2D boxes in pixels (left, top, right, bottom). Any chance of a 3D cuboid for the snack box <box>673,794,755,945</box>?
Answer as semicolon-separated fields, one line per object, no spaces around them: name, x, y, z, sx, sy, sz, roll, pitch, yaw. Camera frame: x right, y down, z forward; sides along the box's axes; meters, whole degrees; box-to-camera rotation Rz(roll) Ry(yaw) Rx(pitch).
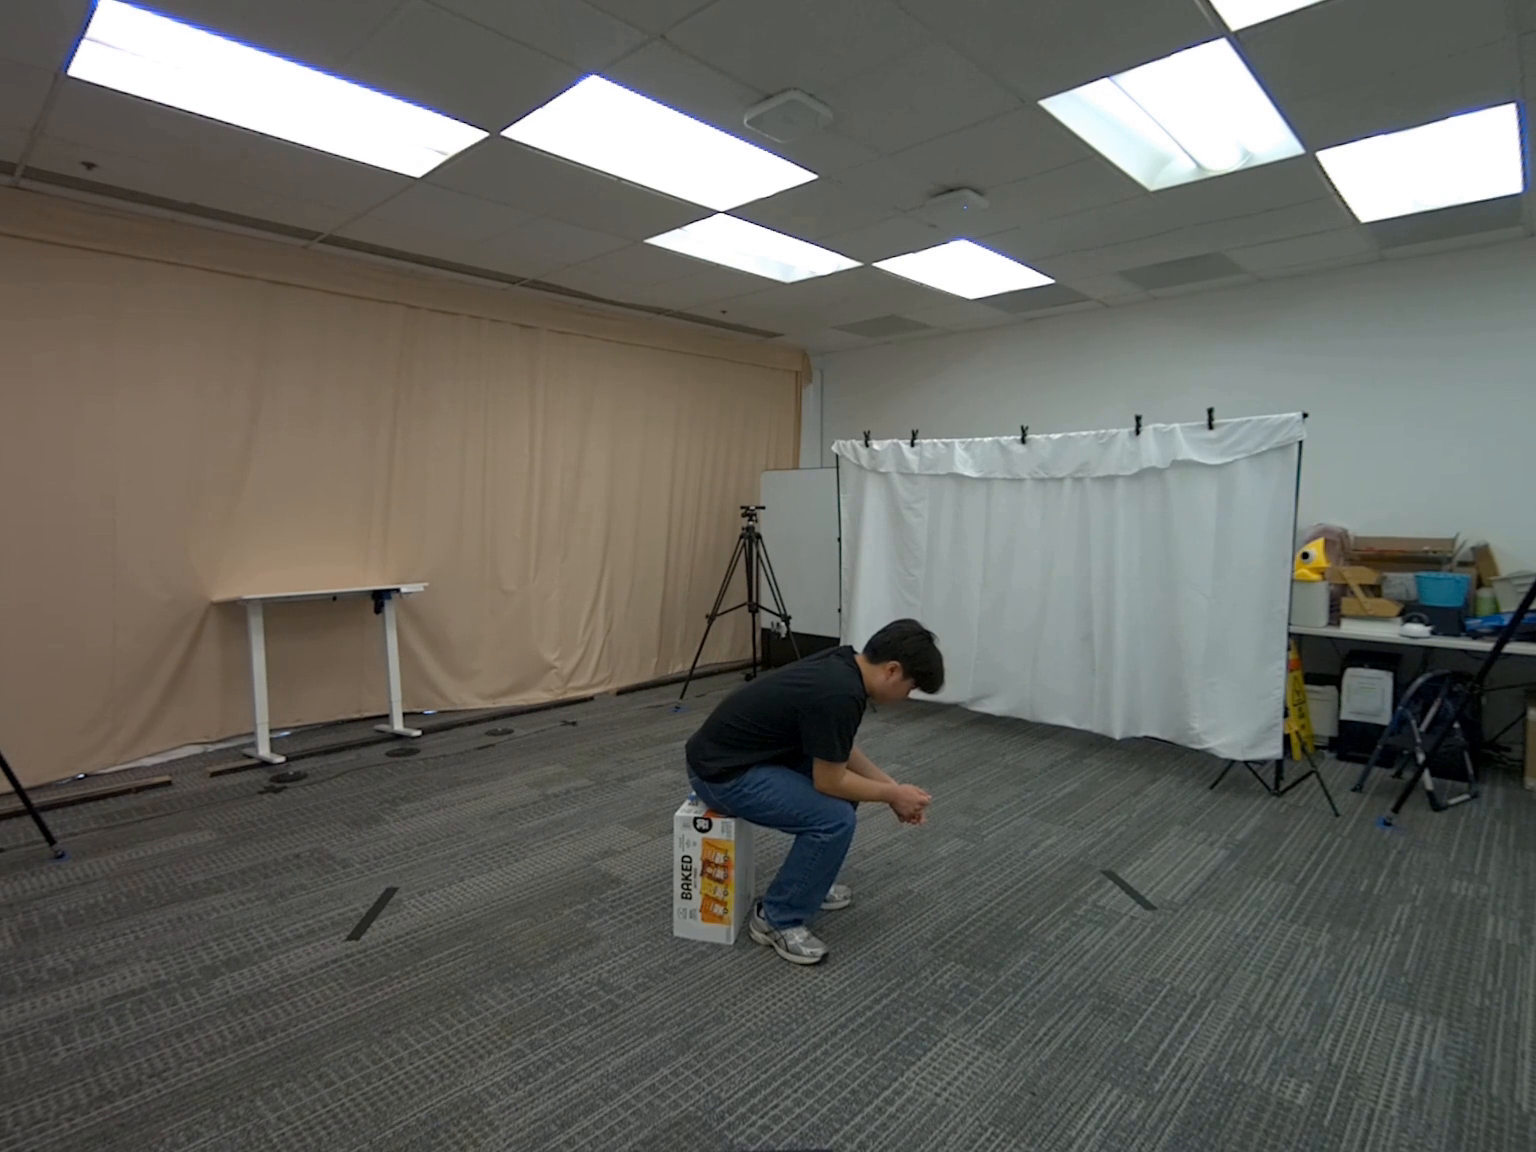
snack box;-0.171;0.956;2.851;0.208;0.404;0.336;1;3;12
